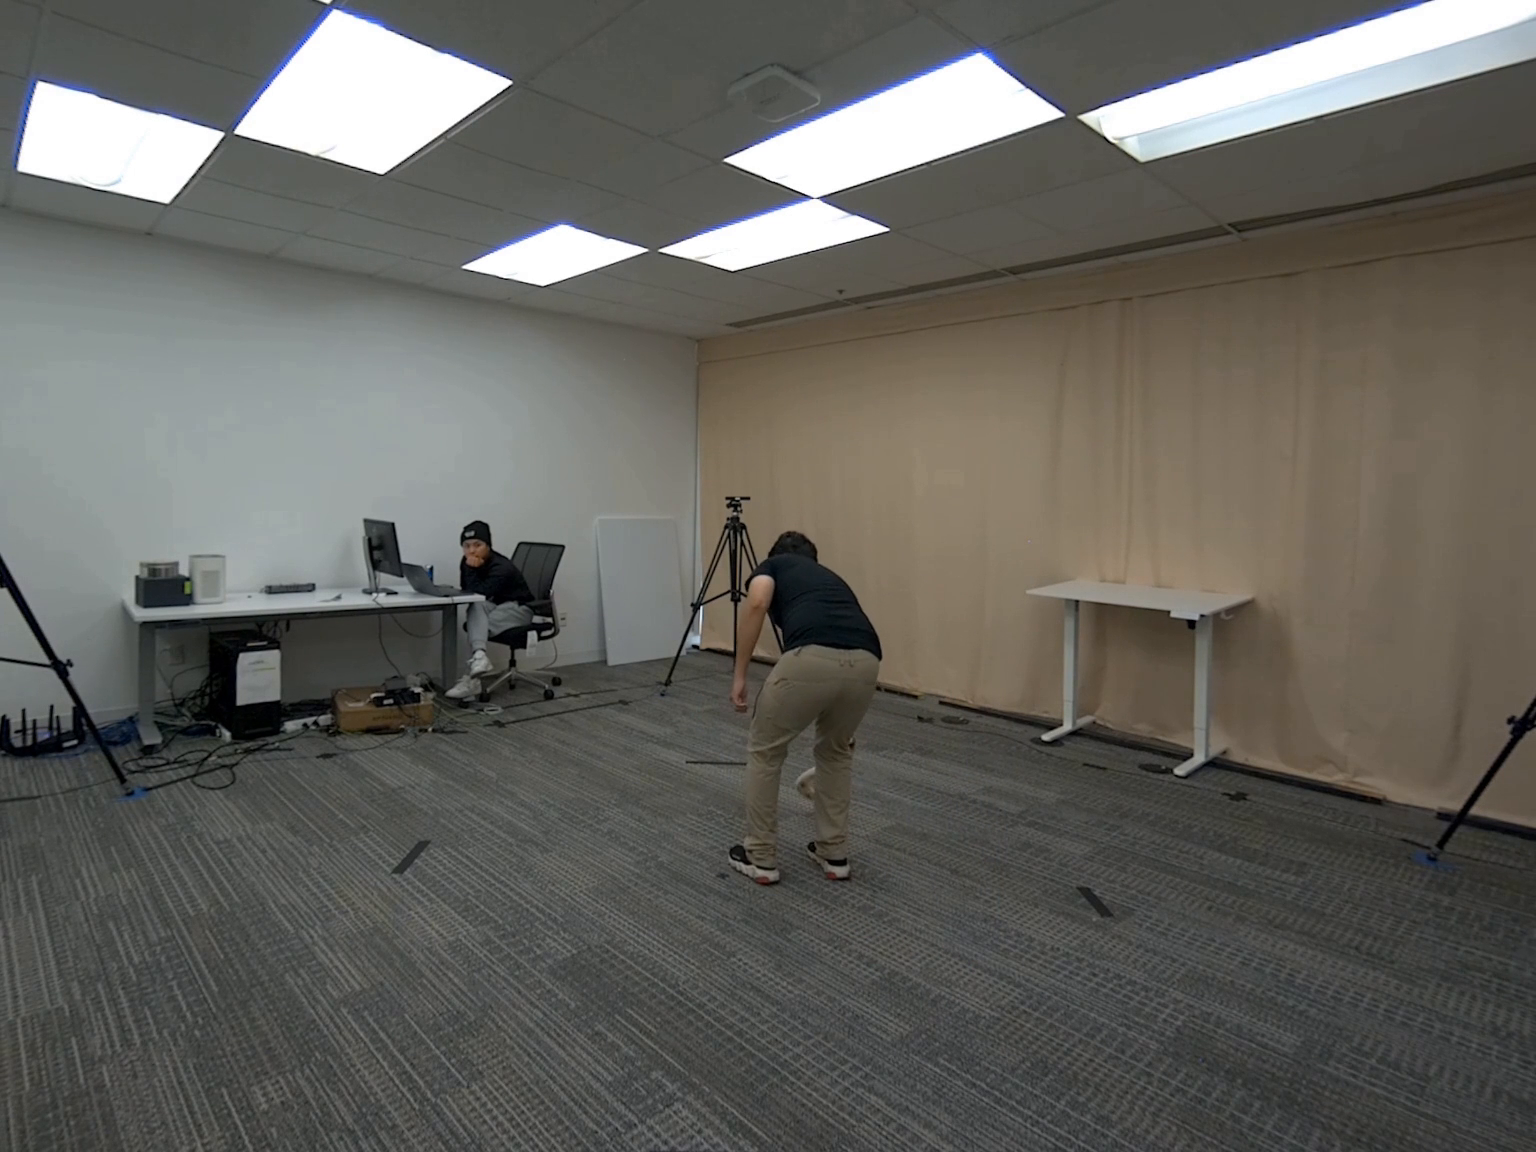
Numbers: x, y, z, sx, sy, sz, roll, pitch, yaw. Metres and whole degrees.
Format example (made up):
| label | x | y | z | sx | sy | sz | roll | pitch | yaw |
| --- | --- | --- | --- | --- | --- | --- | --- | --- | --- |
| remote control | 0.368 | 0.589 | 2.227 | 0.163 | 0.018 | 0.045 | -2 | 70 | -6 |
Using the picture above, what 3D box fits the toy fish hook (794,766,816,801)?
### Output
| label | x | y | z | sx | sy | sz | roll | pitch | yaw |
| --- | --- | --- | --- | --- | --- | --- | --- | --- | --- |
| toy fish hook | 0.287 | 0.840 | 3.579 | 0.223 | 0.049 | 0.503 | 24 | -44 | -9 |
